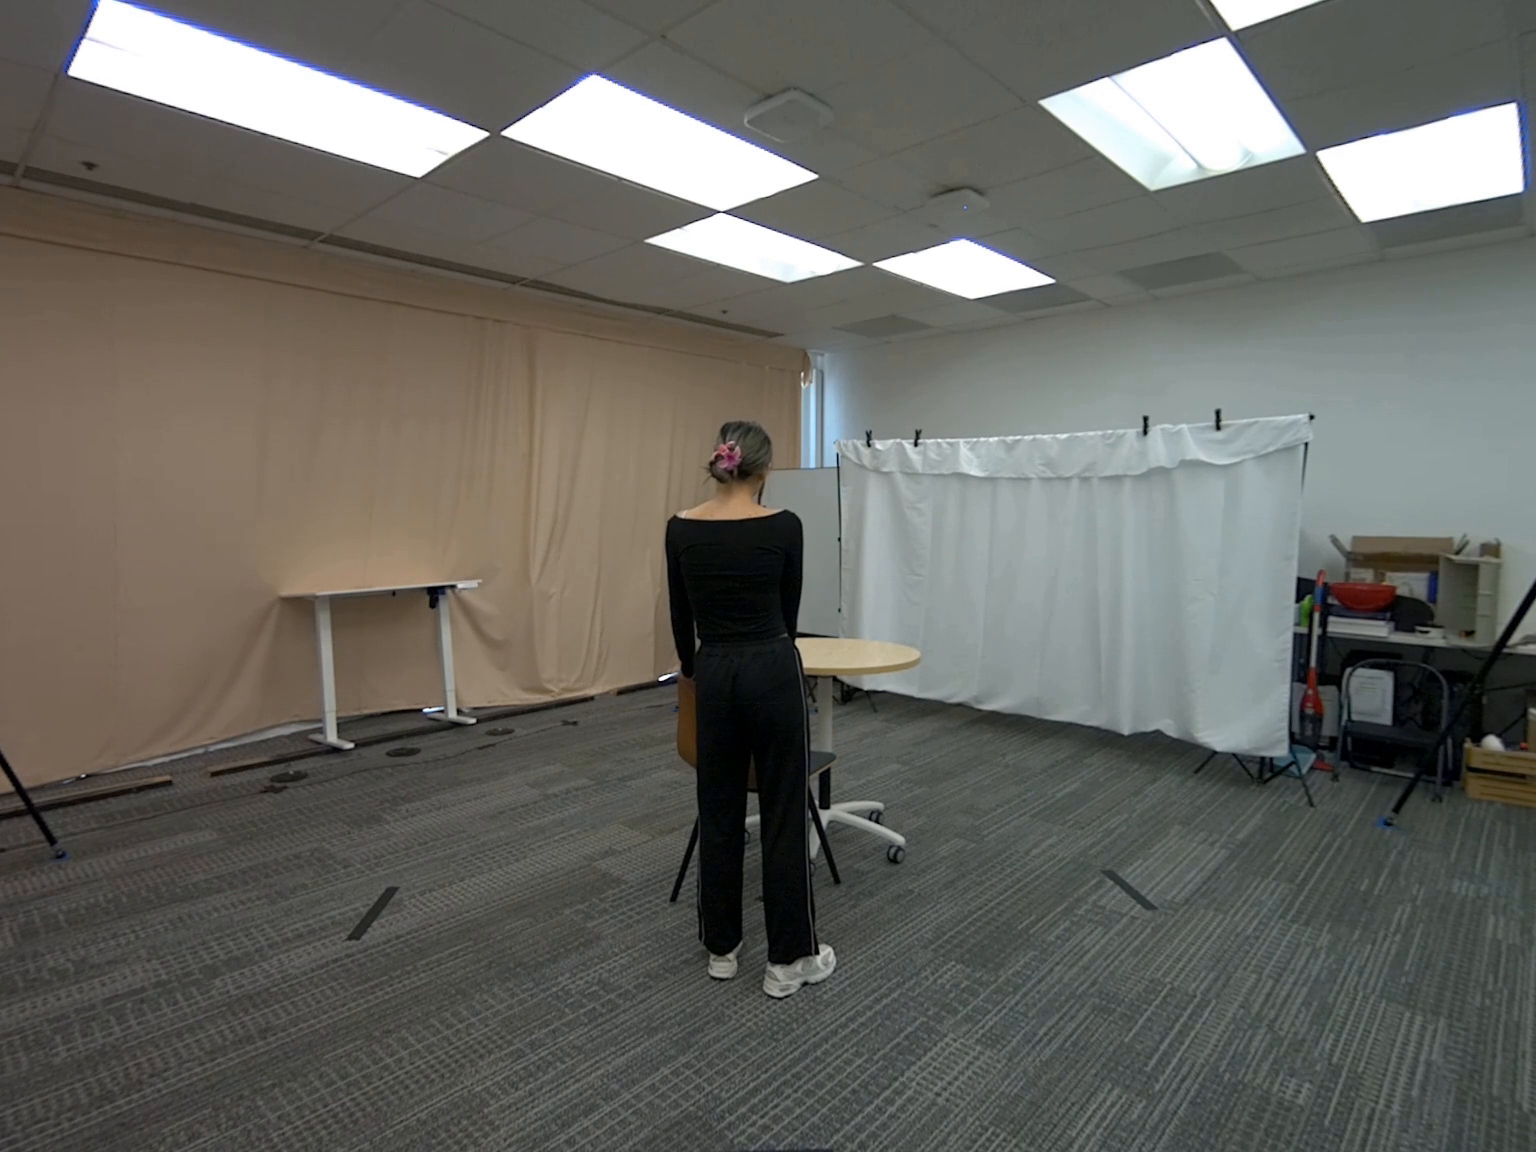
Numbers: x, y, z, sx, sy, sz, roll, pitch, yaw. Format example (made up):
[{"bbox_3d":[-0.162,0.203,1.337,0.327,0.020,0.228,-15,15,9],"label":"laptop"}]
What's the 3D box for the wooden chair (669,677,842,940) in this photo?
[{"bbox_3d":[-0.038,0.712,3.001,0.492,0.873,0.510,2,8,32],"label":"wooden chair"}]
